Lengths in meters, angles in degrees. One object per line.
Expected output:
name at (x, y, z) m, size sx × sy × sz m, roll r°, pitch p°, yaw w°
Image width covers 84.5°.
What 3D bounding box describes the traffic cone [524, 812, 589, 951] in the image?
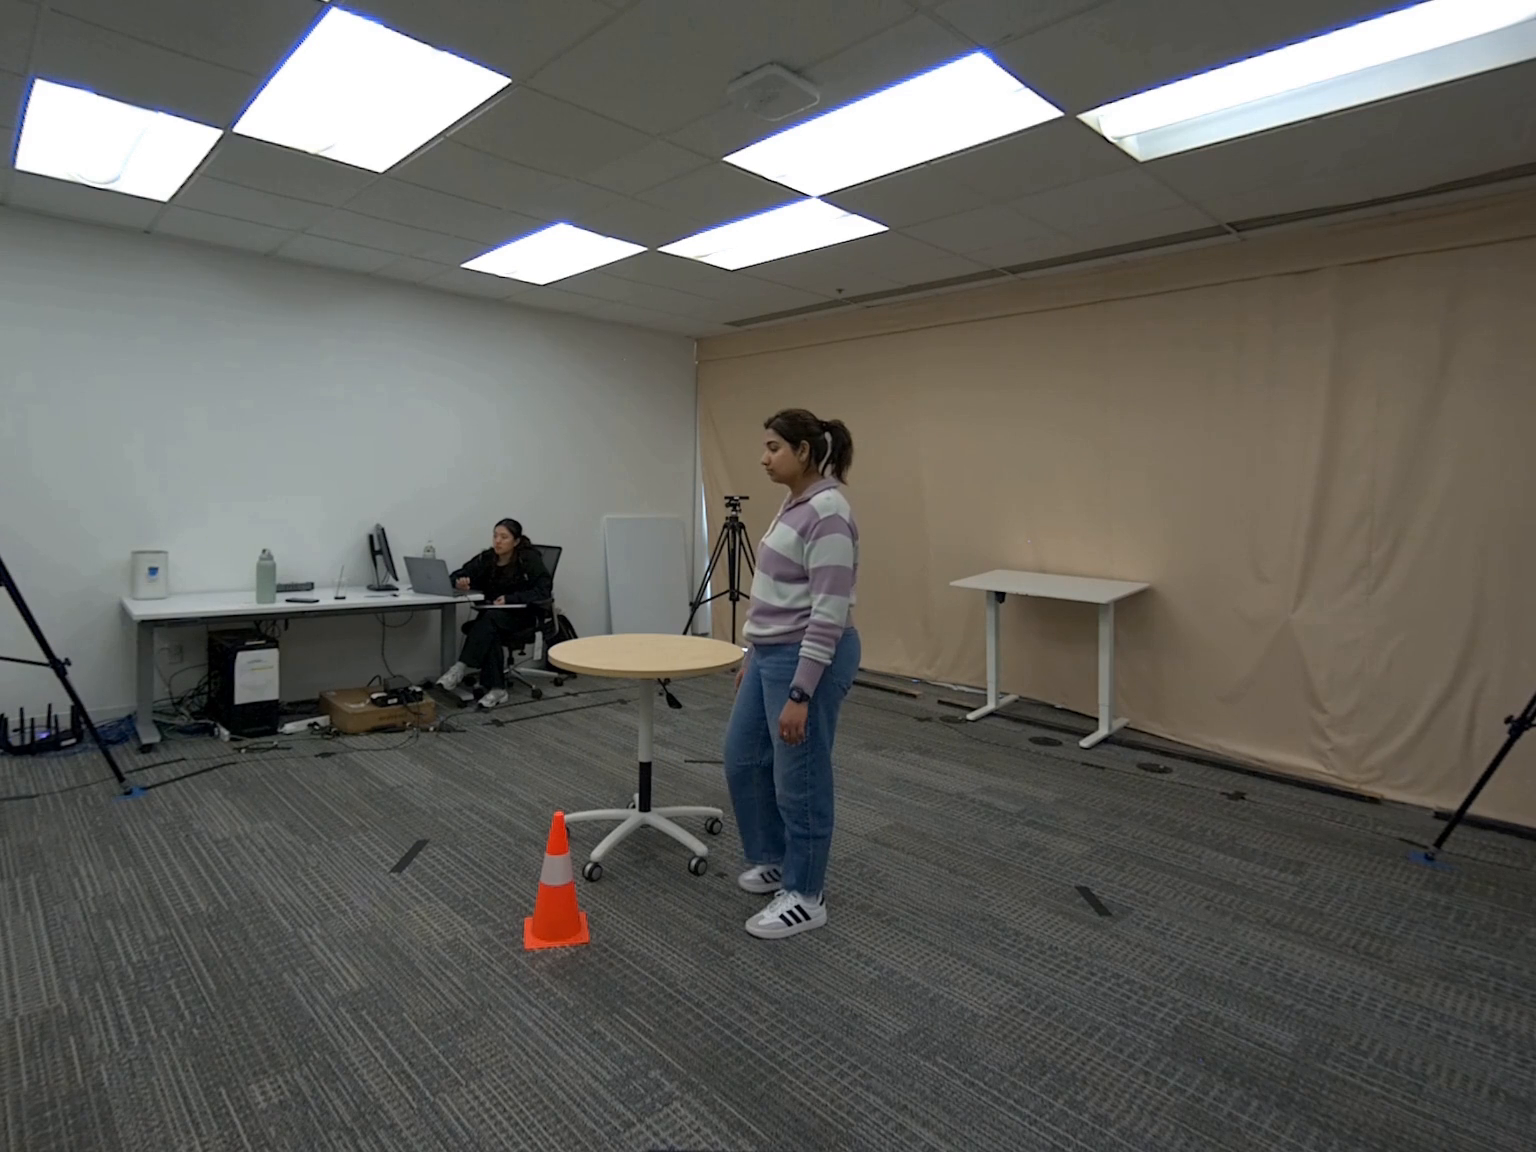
traffic cone at (-0.675, 0.942, 2.681) m, size 0.202 × 0.383 × 0.206 m, roll 1°, pitch 1°, yaw -16°
